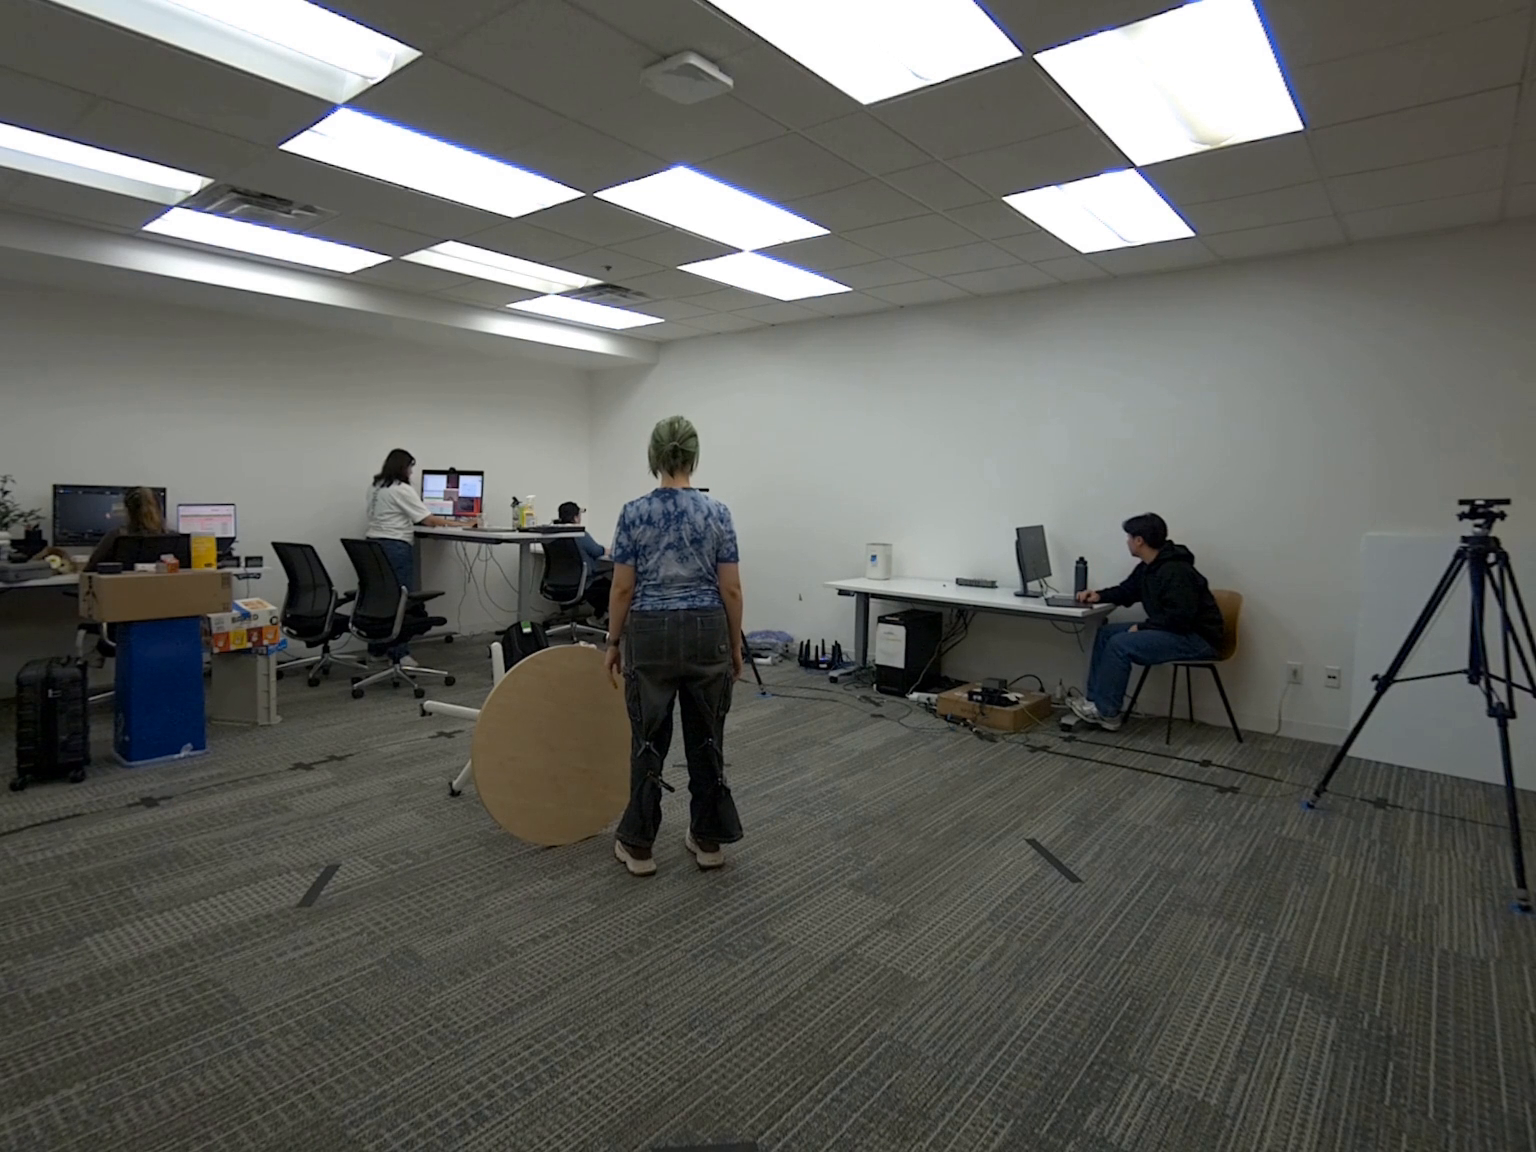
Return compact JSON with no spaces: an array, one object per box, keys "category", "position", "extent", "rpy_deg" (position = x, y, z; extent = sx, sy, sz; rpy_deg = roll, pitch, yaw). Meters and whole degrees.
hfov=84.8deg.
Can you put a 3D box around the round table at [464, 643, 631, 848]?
[{"category":"round table","position":[-1.051,0.663,3.653],"extent":[0.741,0.765,0.817],"rpy_deg":[-2,-1,-38]}]
